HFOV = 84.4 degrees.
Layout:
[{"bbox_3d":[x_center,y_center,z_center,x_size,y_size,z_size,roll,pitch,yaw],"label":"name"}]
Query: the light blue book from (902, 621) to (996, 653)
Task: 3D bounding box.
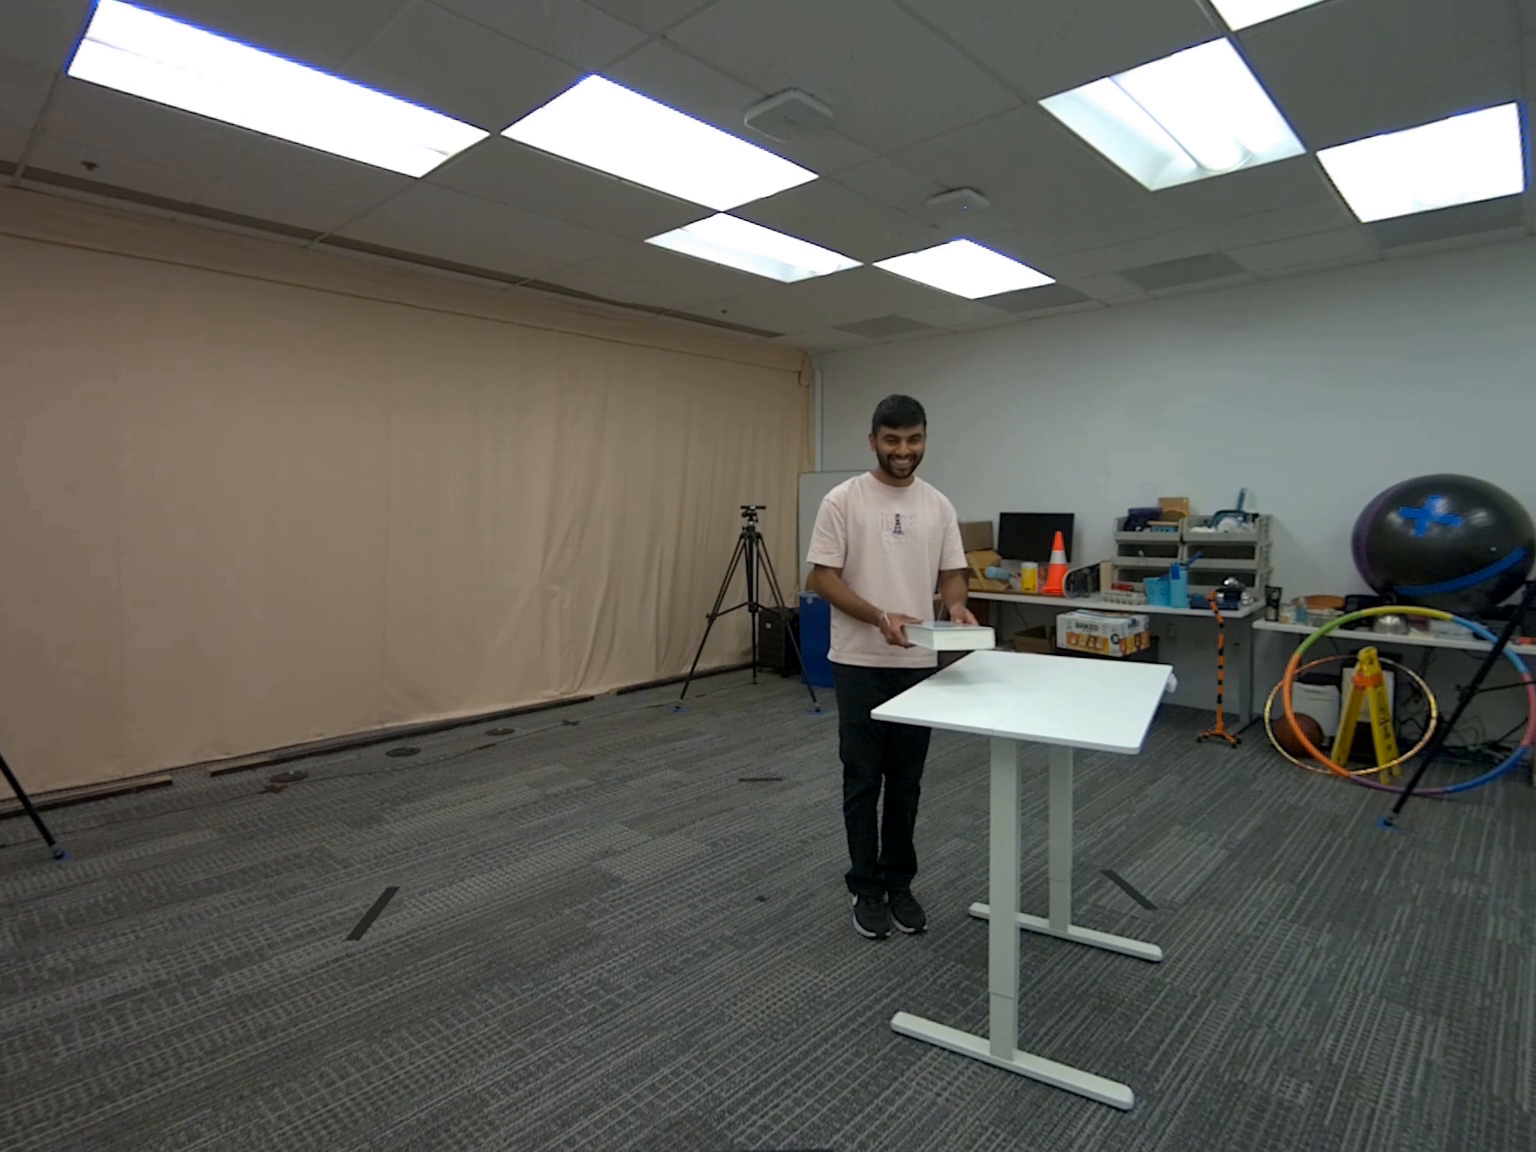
[{"bbox_3d":[0.522,0.170,2.482,0.190,0.059,0.263,0,2,-8],"label":"light blue book"}]
